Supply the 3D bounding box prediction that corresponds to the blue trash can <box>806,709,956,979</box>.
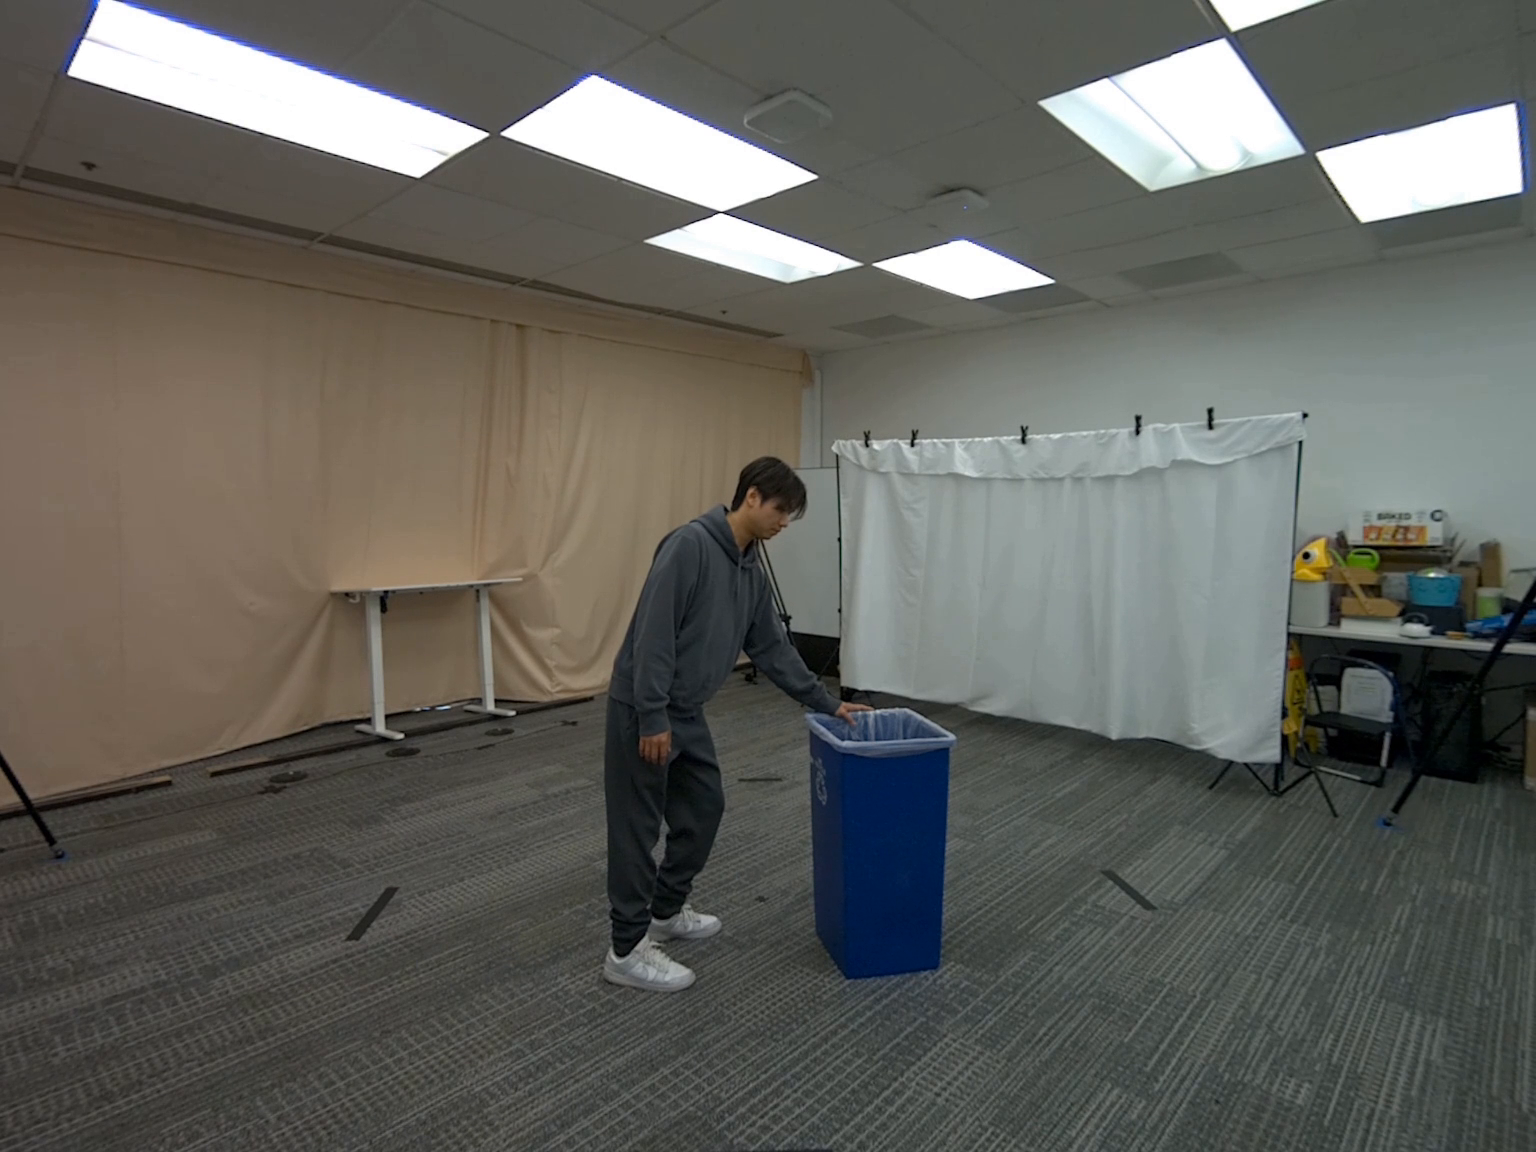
[{"bbox_3d":[0.348,0.822,2.617,0.373,0.712,0.380,-1,3,-13],"label":"blue trash can"}]
